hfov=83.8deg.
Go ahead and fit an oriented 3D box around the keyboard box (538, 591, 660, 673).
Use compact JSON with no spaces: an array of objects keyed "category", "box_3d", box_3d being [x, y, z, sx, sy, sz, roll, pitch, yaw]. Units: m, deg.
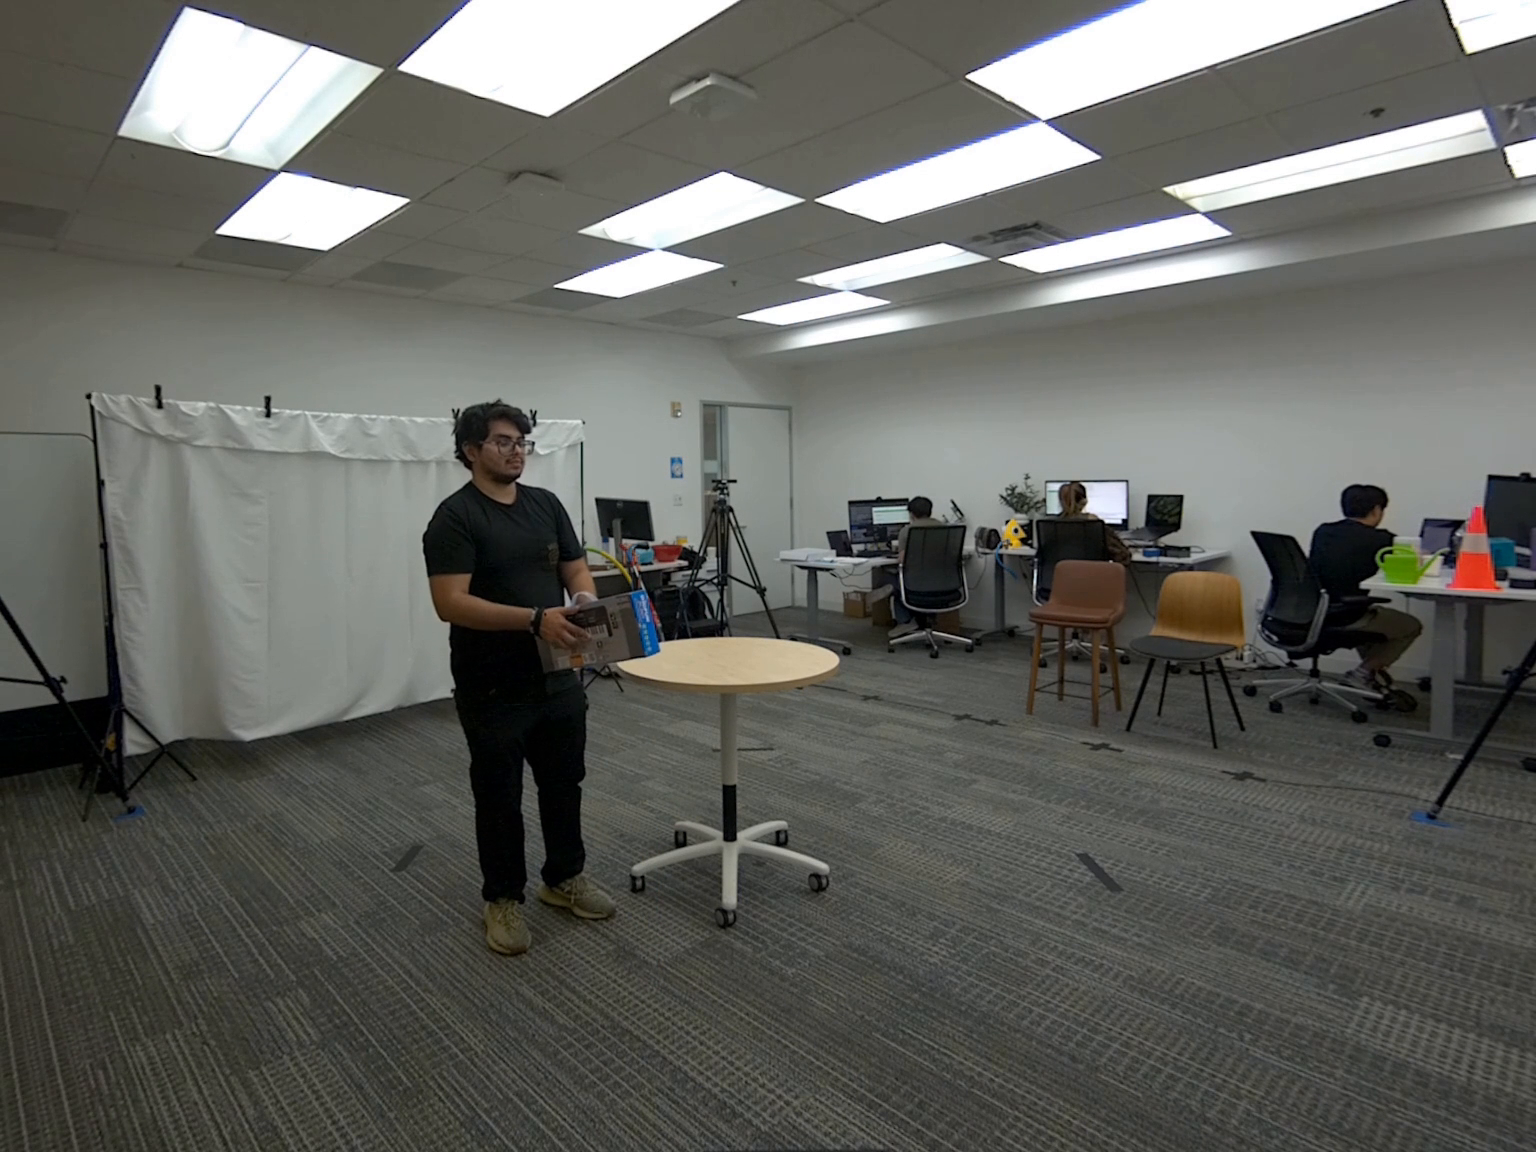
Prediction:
[{"category":"keyboard box","box_3d":[-0.487,0.162,2.366,0.446,0.176,0.058,-13,0,38]}]
